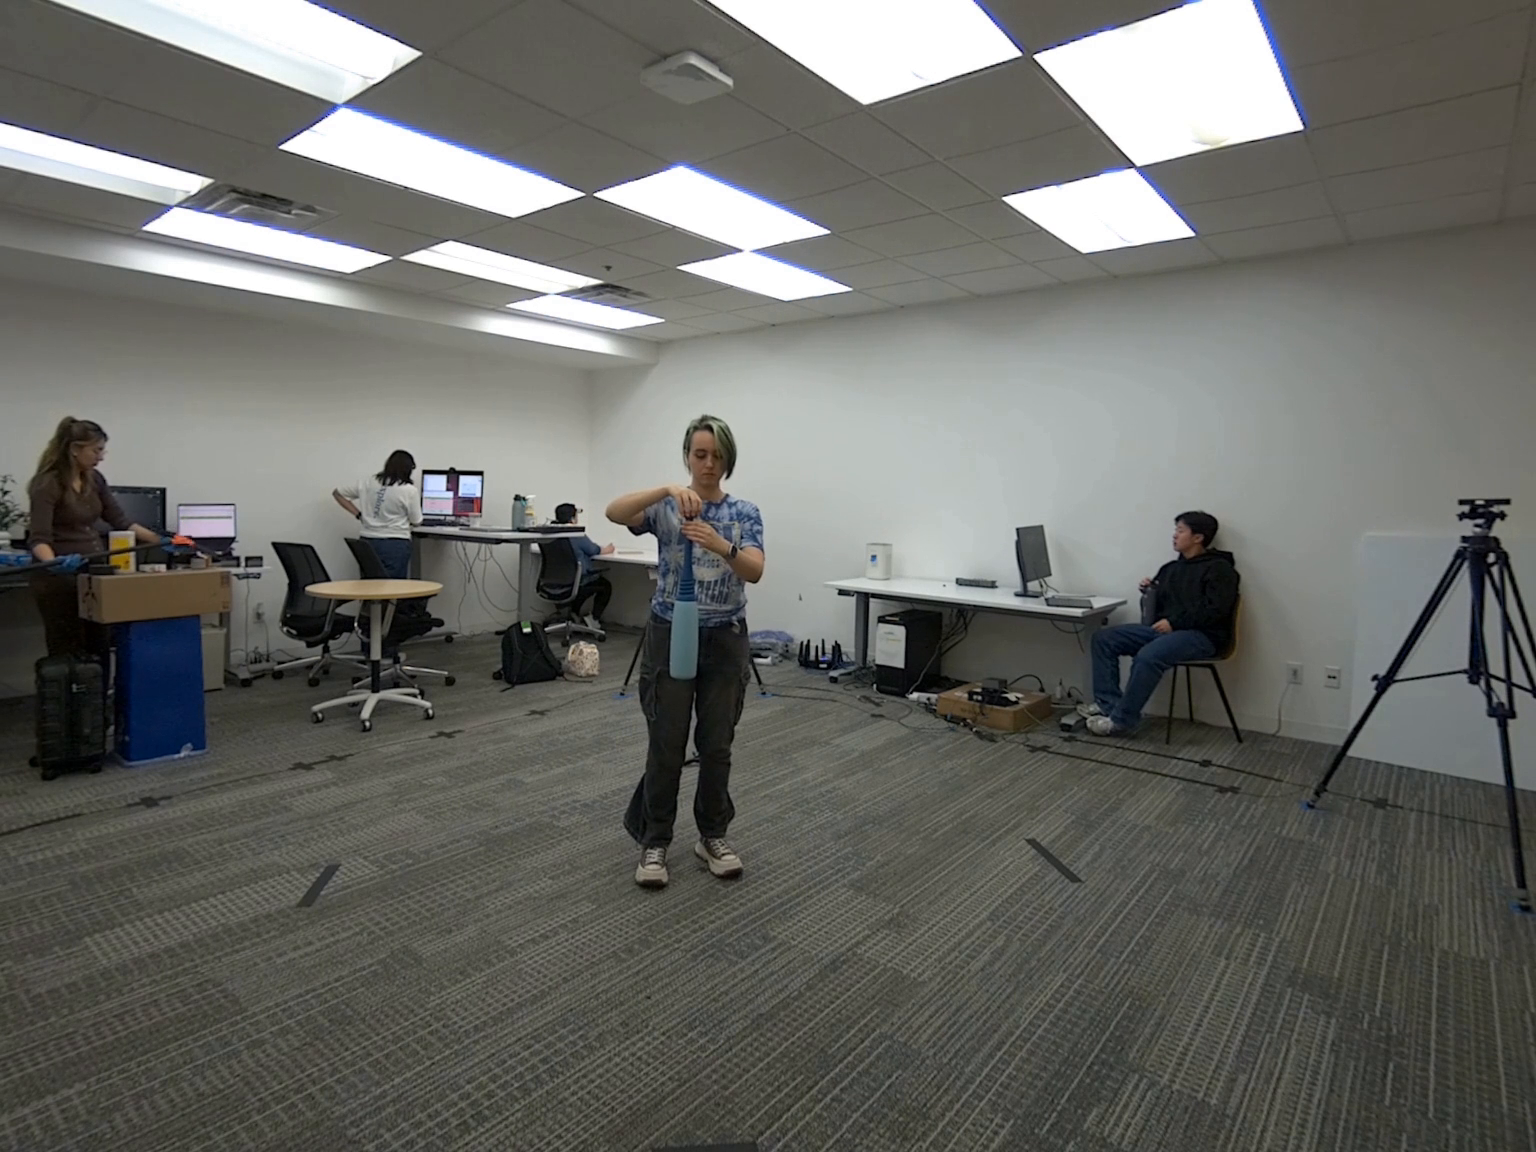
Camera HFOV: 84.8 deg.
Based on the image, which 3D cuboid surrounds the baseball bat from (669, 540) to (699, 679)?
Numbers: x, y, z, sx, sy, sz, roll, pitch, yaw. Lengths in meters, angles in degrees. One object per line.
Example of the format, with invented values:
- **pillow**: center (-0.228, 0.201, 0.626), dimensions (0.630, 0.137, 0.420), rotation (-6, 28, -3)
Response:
- **baseball bat**: center (-0.258, 0.051, 2.749), dimensions (0.089, 0.543, 0.089), rotation (4, 1, -2)
